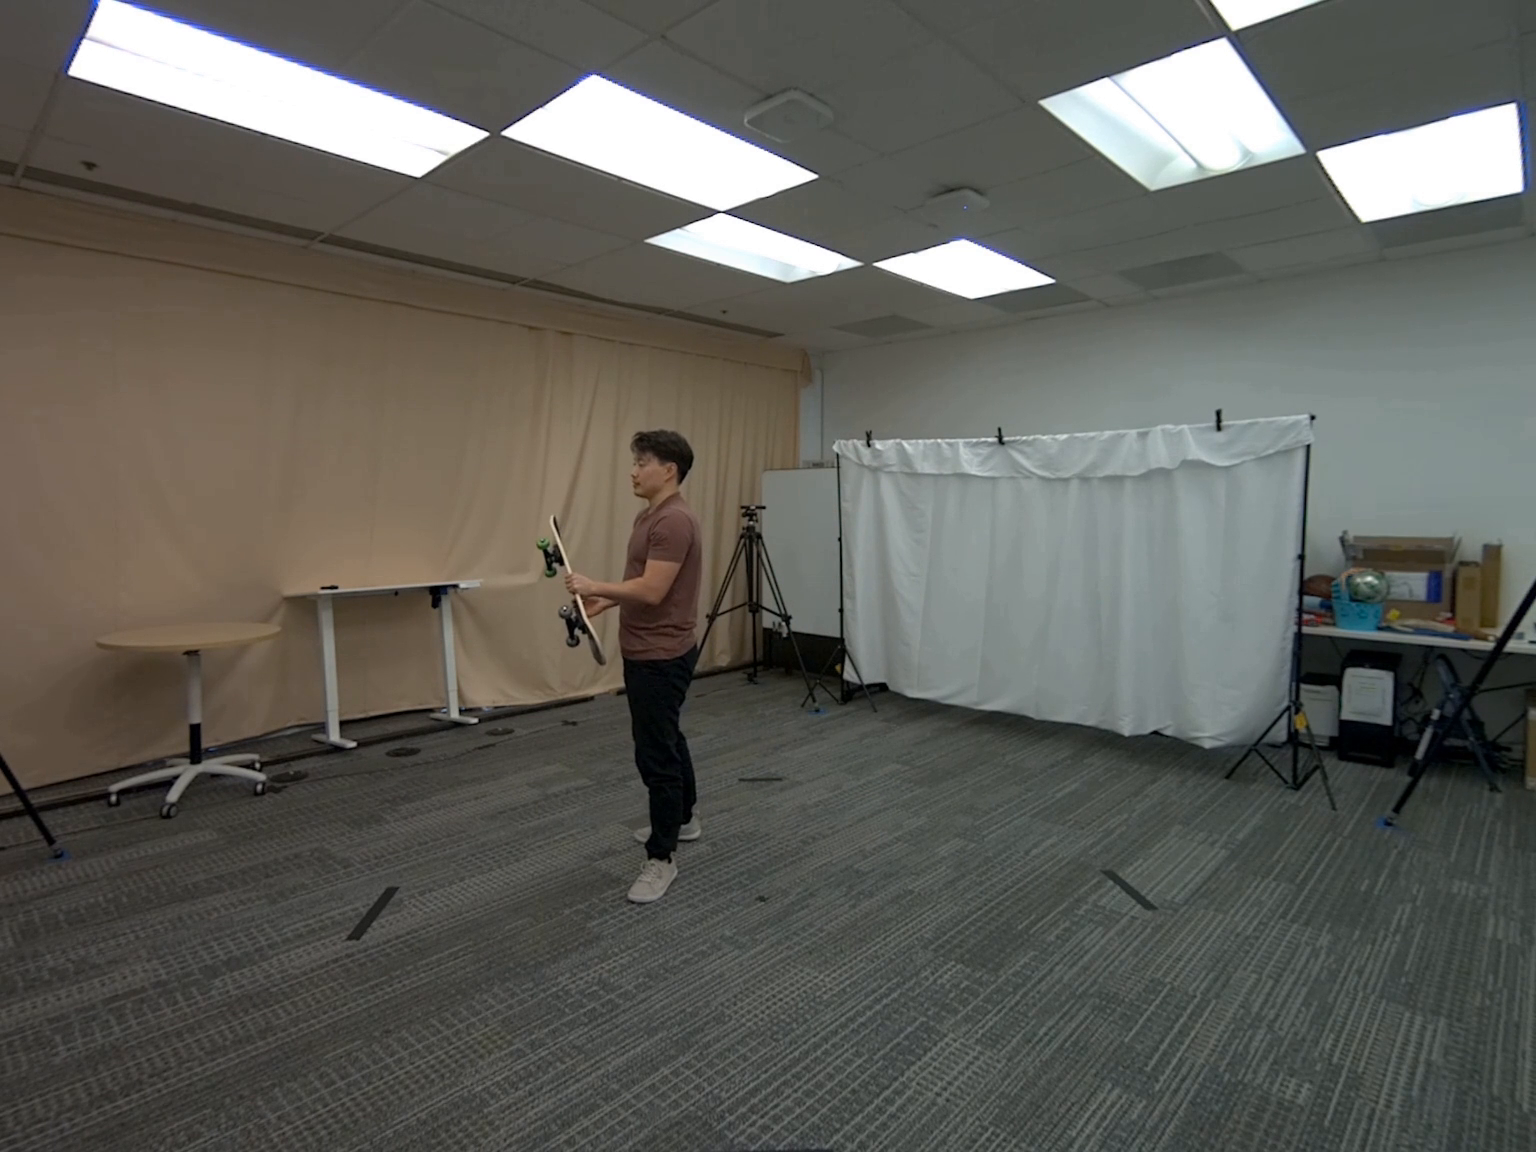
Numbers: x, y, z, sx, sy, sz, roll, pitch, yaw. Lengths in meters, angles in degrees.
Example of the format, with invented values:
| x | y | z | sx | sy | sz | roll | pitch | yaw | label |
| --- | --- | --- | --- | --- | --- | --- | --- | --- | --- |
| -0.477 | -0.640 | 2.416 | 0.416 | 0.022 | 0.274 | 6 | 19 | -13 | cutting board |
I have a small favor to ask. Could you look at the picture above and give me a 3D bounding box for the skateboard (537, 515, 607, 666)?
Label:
| x | y | z | sx | sy | sz | roll | pitch | yaw | label |
| --- | --- | --- | --- | --- | --- | --- | --- | --- | --- |
| -0.766 | 0.050 | 3.192 | 0.109 | 0.190 | 0.811 | -16 | 45 | -16 | skateboard |
